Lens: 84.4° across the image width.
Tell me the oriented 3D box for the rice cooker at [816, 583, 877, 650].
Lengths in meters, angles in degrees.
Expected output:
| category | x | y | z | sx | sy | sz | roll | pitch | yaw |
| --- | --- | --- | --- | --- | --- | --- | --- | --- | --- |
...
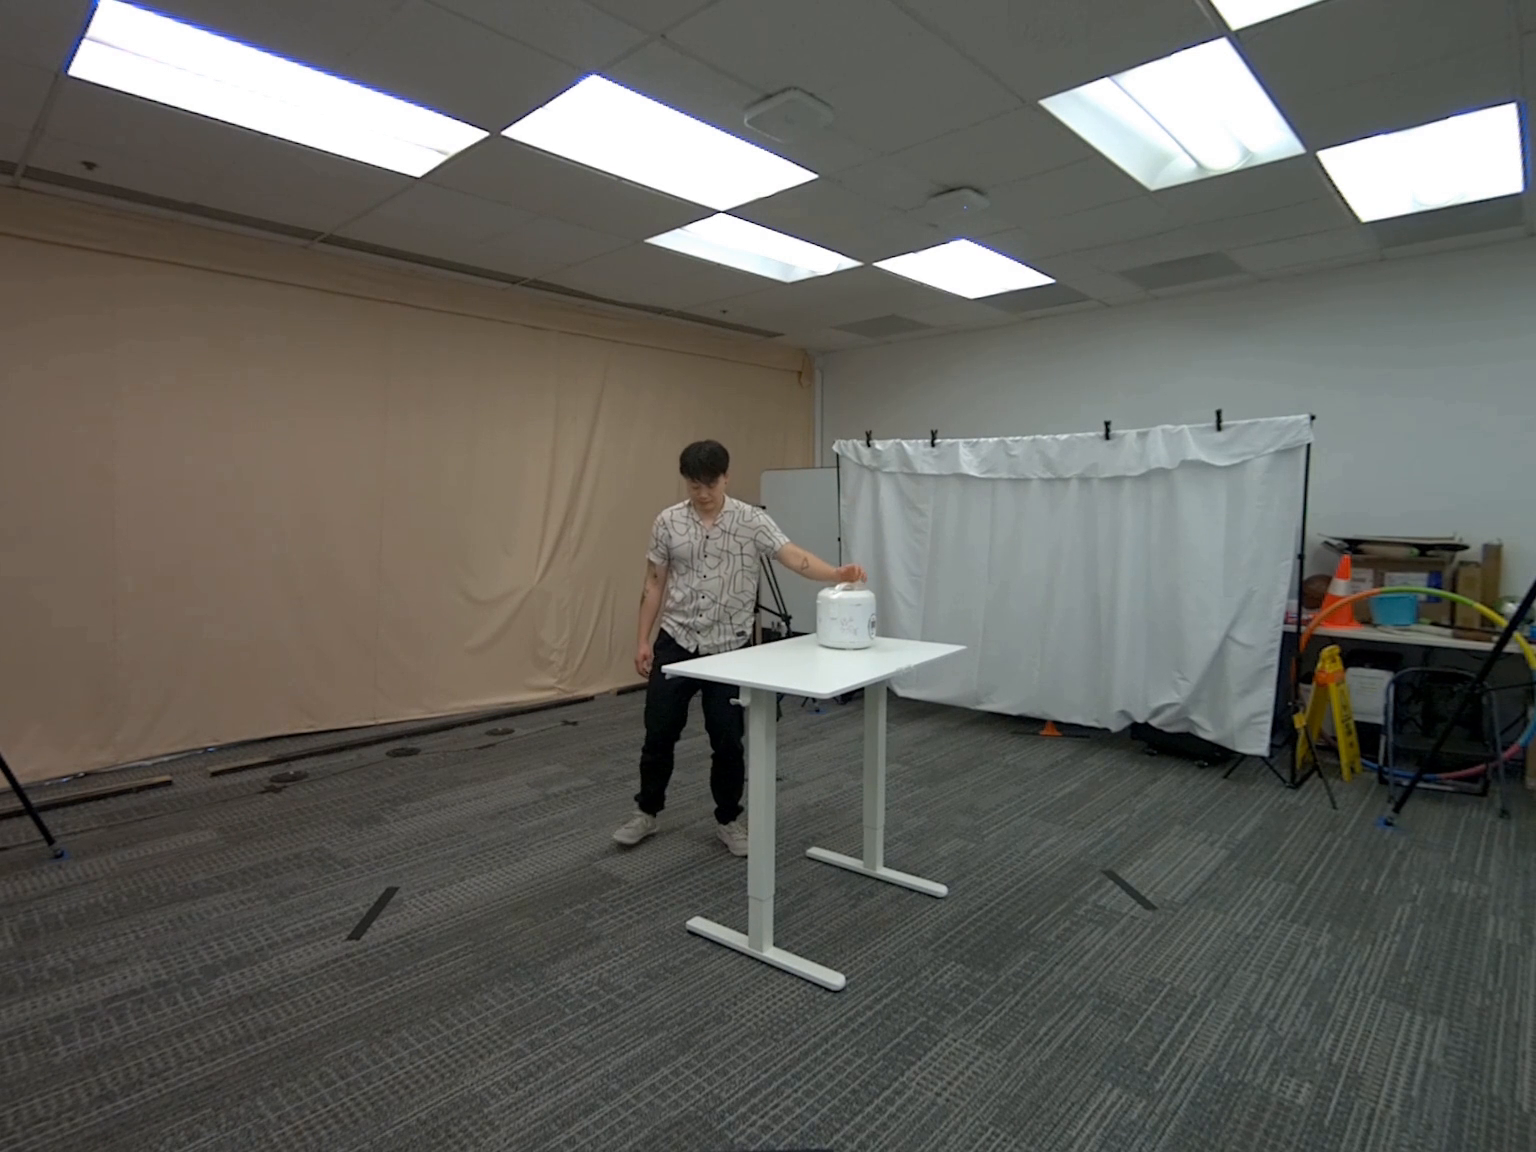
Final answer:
| category | x | y | z | sx | sy | sz | roll | pitch | yaw |
| --- | --- | --- | --- | --- | --- | --- | --- | --- | --- |
| rice cooker | 0.289 | 0.138 | 3.047 | 0.224 | 0.232 | 0.214 | 1 | 4 | 33 |
